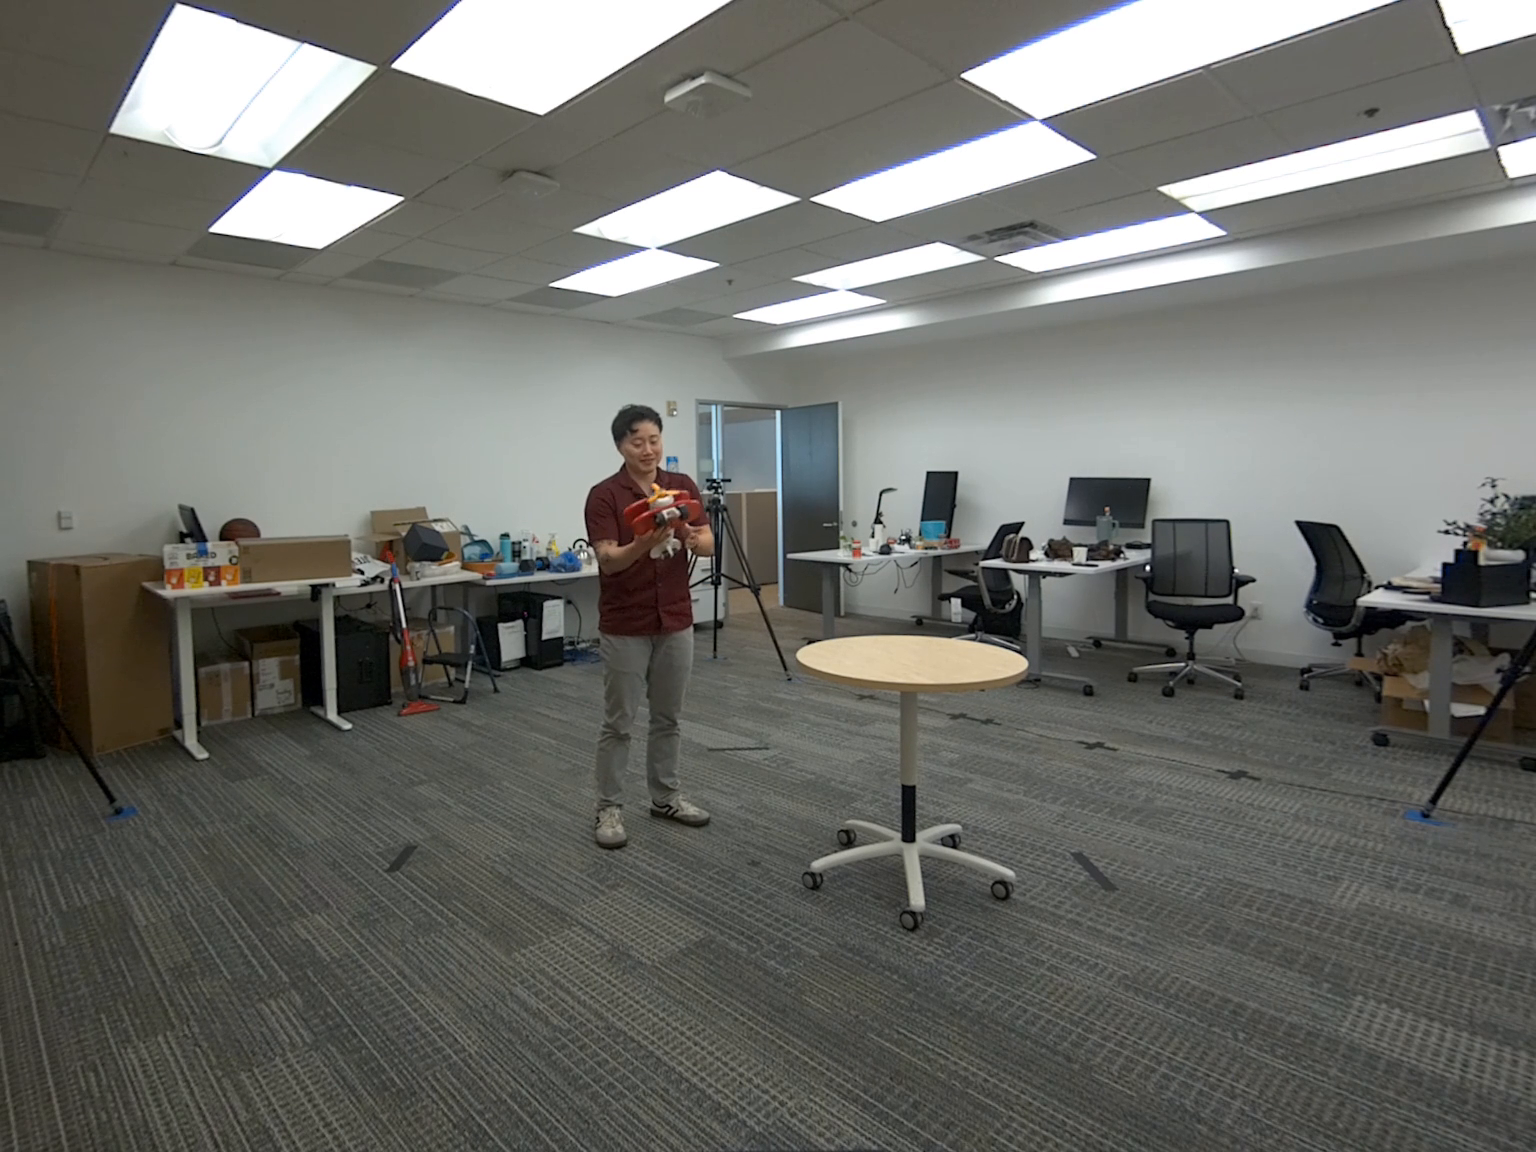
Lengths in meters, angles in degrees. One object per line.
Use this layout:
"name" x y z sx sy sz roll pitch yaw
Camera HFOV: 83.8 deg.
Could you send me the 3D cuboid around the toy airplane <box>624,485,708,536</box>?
"toy airplane" -0.375 -0.168 2.986 0.243 0.258 0.162 5 39 -43
